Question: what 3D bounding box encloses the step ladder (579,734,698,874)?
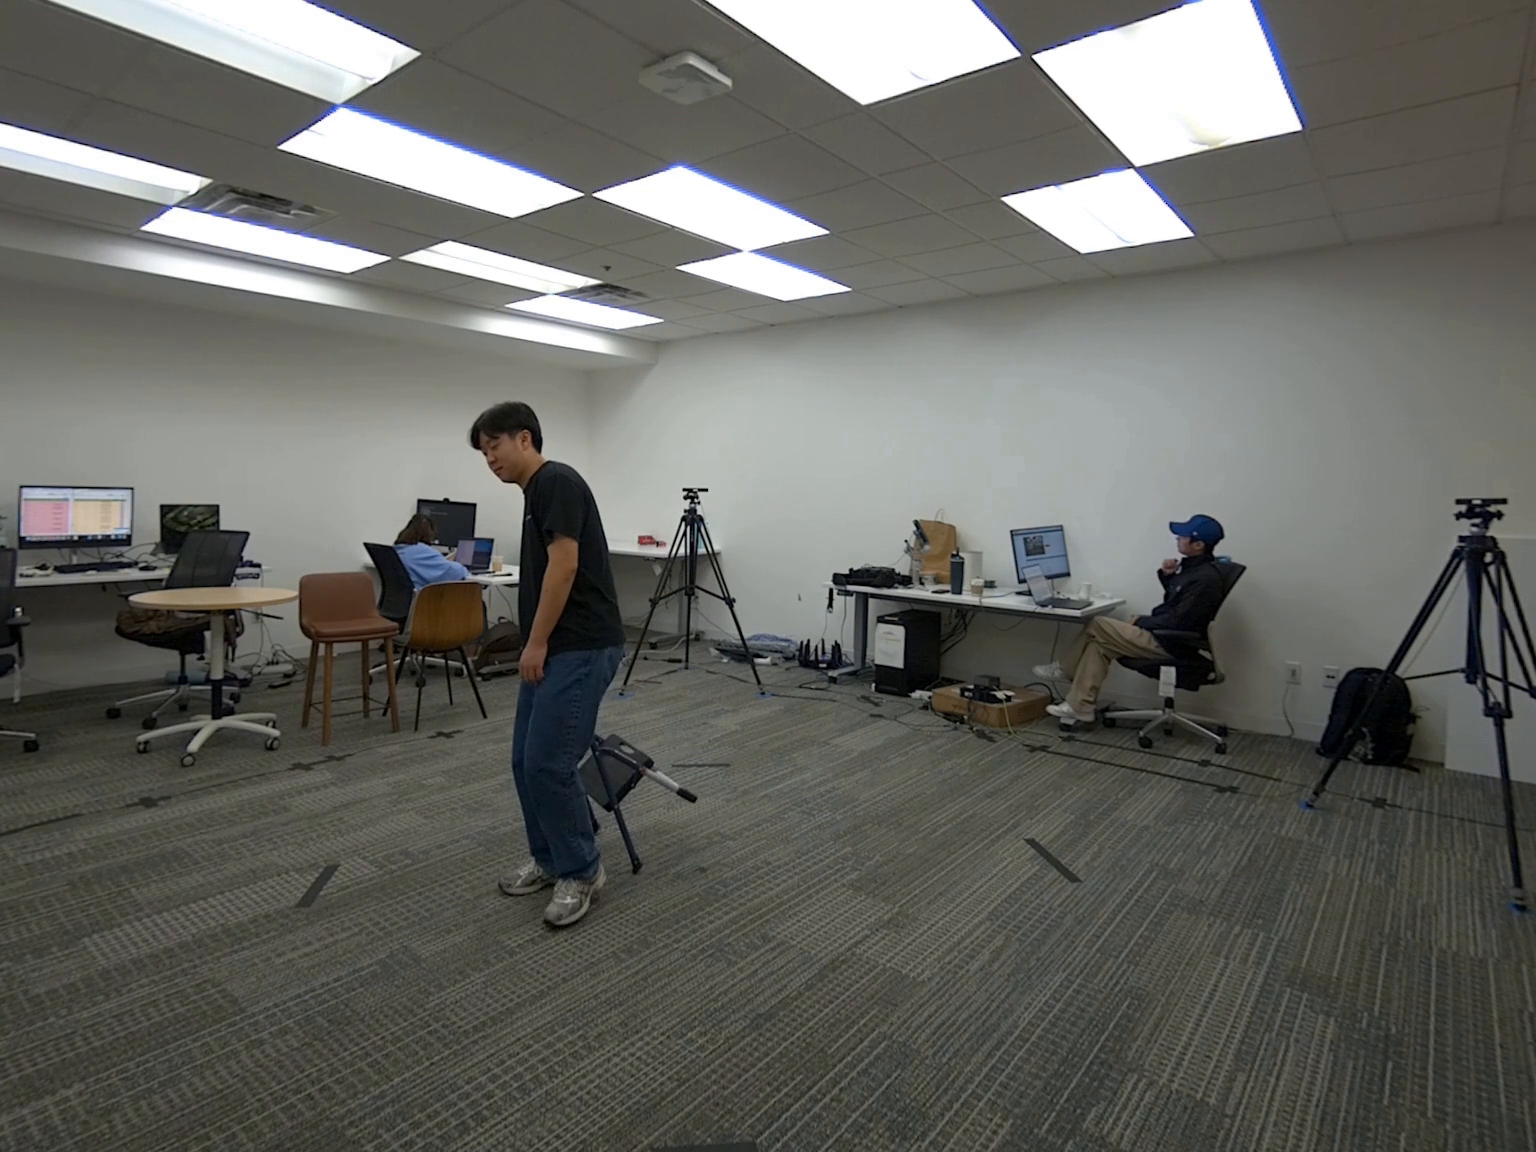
[{"bbox_3d":[-0.651,0.709,3.188,0.349,0.589,0.444,-46,25,-21],"label":"step ladder"}]
